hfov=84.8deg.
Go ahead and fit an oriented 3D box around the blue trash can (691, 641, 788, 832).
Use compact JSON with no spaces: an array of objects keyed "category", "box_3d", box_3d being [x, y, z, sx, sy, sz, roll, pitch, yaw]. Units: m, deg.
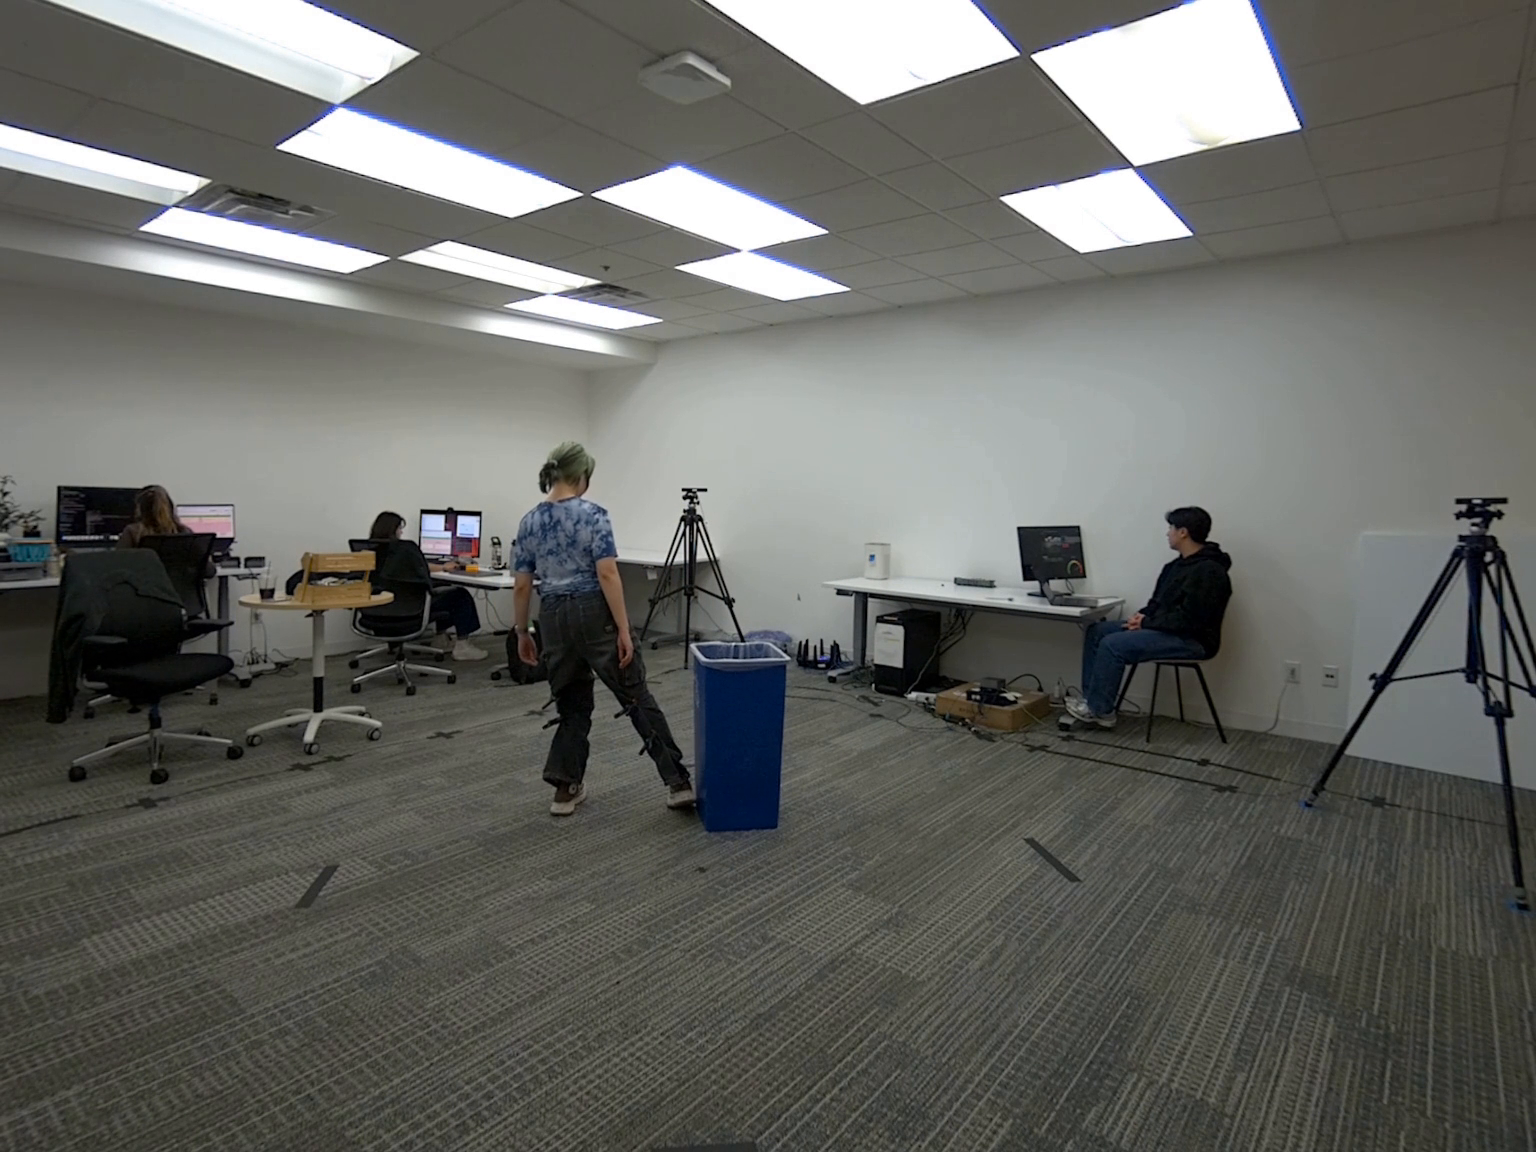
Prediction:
[{"category":"blue trash can","box_3d":[-0.138,0.668,3.592,0.373,0.711,0.380,0,3,-13]}]
